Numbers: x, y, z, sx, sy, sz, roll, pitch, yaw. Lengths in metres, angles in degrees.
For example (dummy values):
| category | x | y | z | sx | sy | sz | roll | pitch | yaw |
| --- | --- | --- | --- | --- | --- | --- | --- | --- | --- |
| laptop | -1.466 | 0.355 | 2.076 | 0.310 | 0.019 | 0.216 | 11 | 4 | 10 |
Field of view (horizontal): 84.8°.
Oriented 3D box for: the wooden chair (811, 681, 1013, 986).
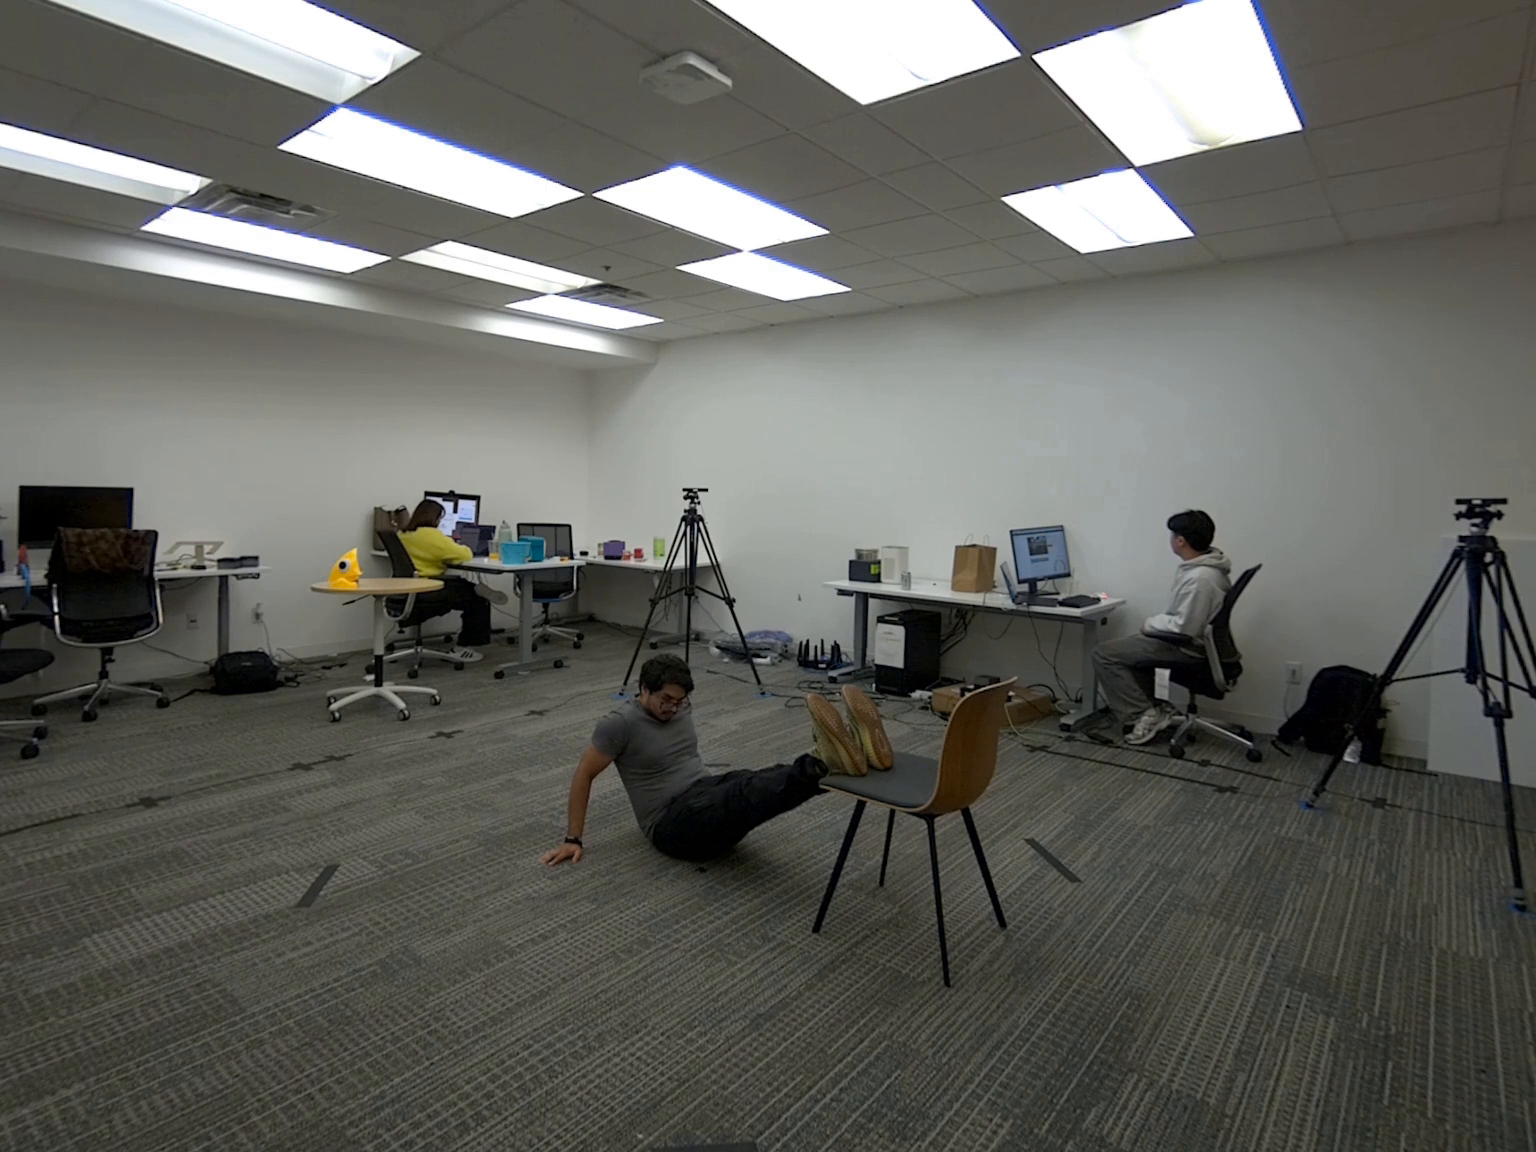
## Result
| category | x | y | z | sx | sy | sz | roll | pitch | yaw |
| --- | --- | --- | --- | --- | --- | --- | --- | --- | --- |
| wooden chair | 0.454 | 0.700 | 2.690 | 0.541 | 0.873 | 0.464 | 9 | 7 | 37 |
